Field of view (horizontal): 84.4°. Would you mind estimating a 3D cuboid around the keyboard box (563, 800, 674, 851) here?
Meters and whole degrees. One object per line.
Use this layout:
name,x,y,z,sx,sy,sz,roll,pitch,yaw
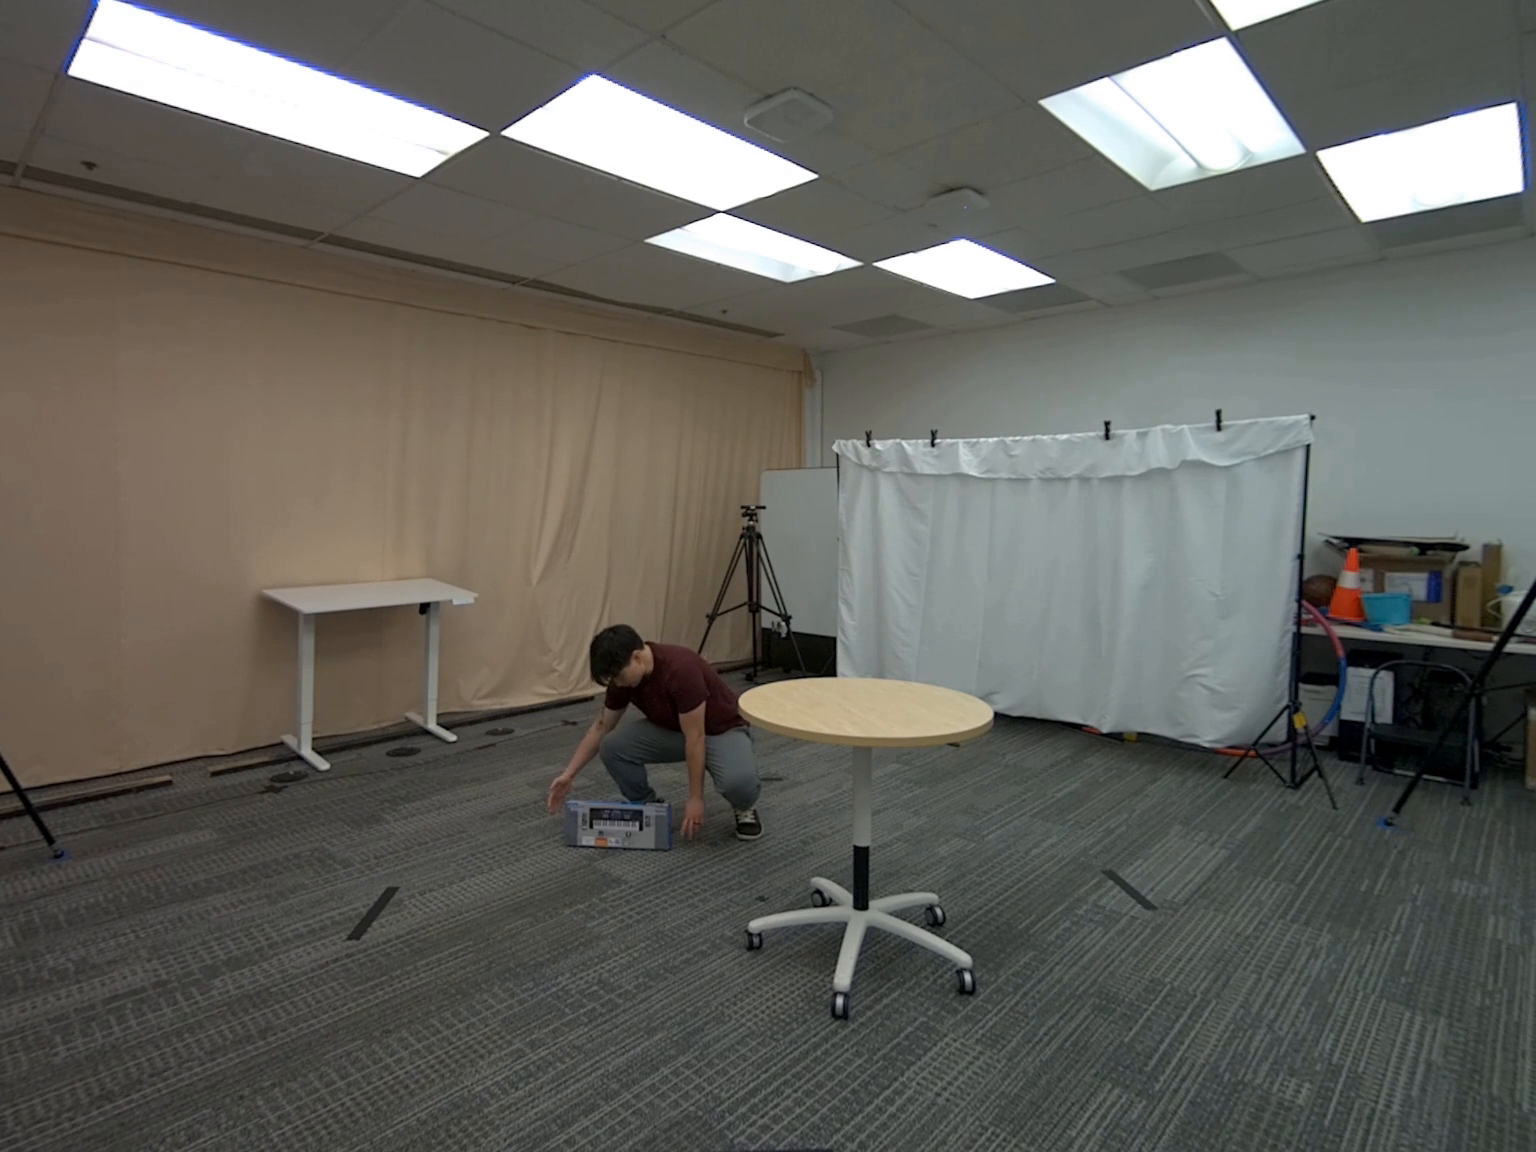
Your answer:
keyboard box,-0.620,1.025,3.465,0.440,0.176,0.058,0,-5,8
